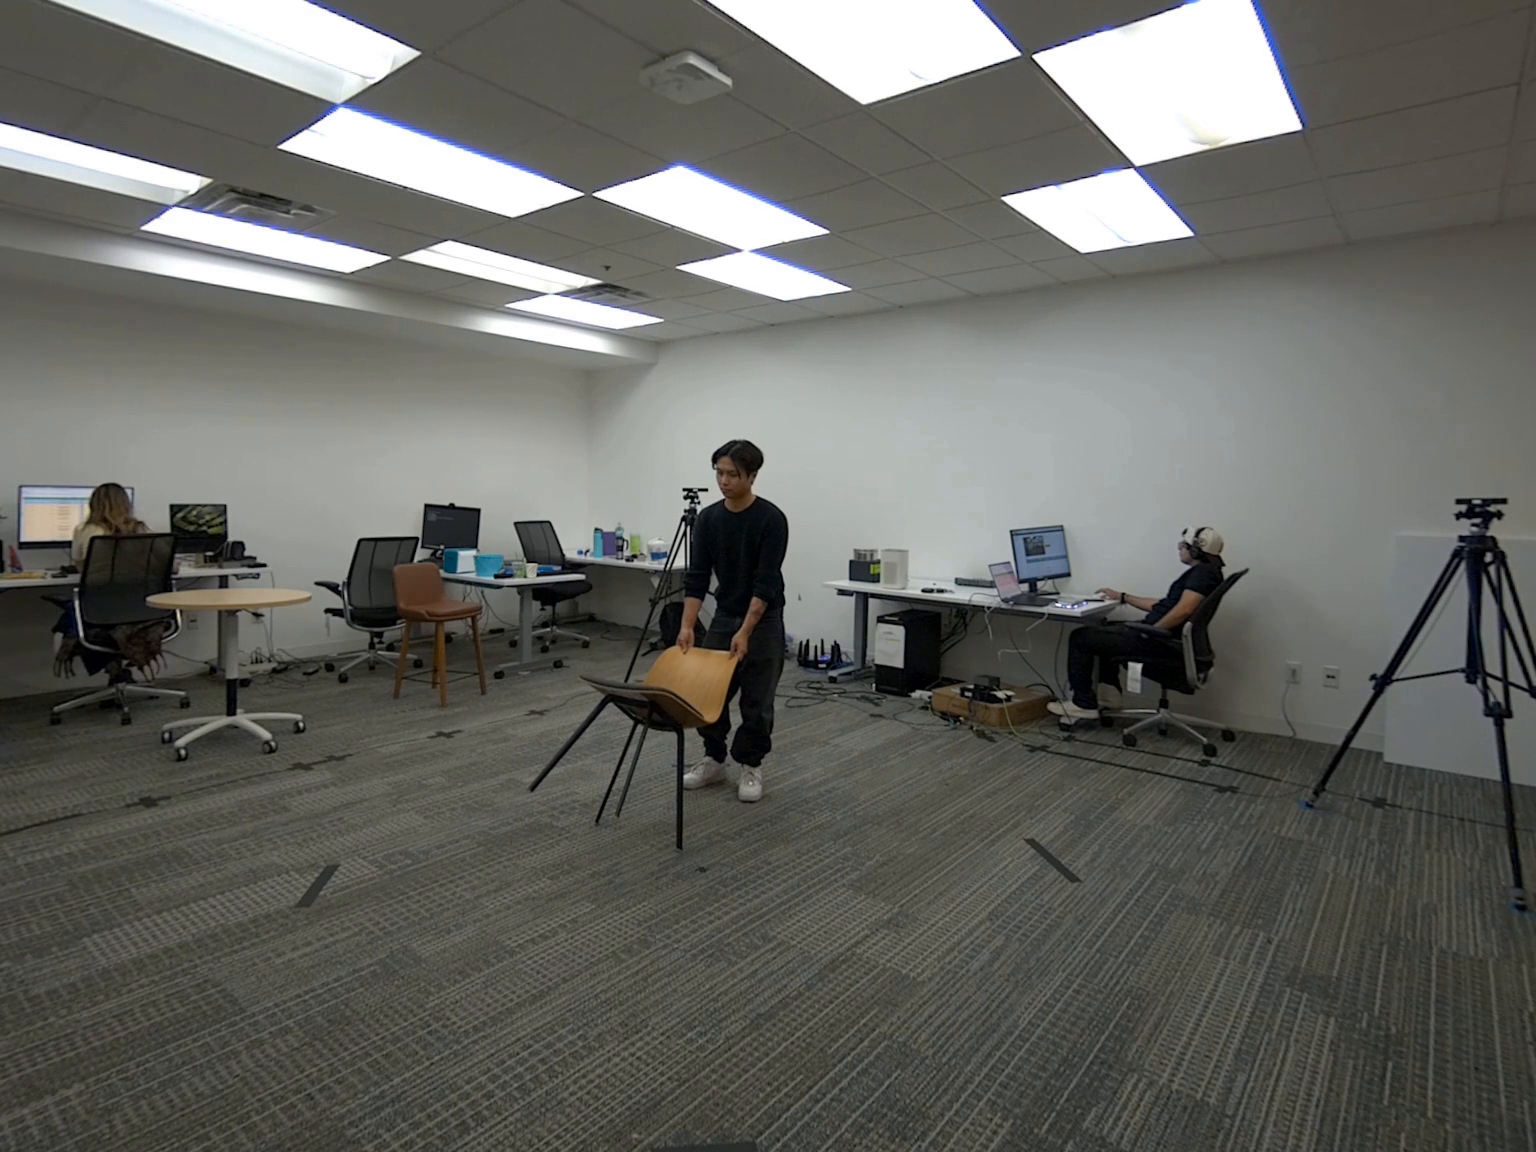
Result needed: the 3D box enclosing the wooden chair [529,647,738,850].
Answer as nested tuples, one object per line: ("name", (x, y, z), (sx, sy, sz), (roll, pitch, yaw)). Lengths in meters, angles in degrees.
("wooden chair", (-0.510, 0.552, 3.390), (0.493, 0.887, 0.501), (3, -33, 34))
